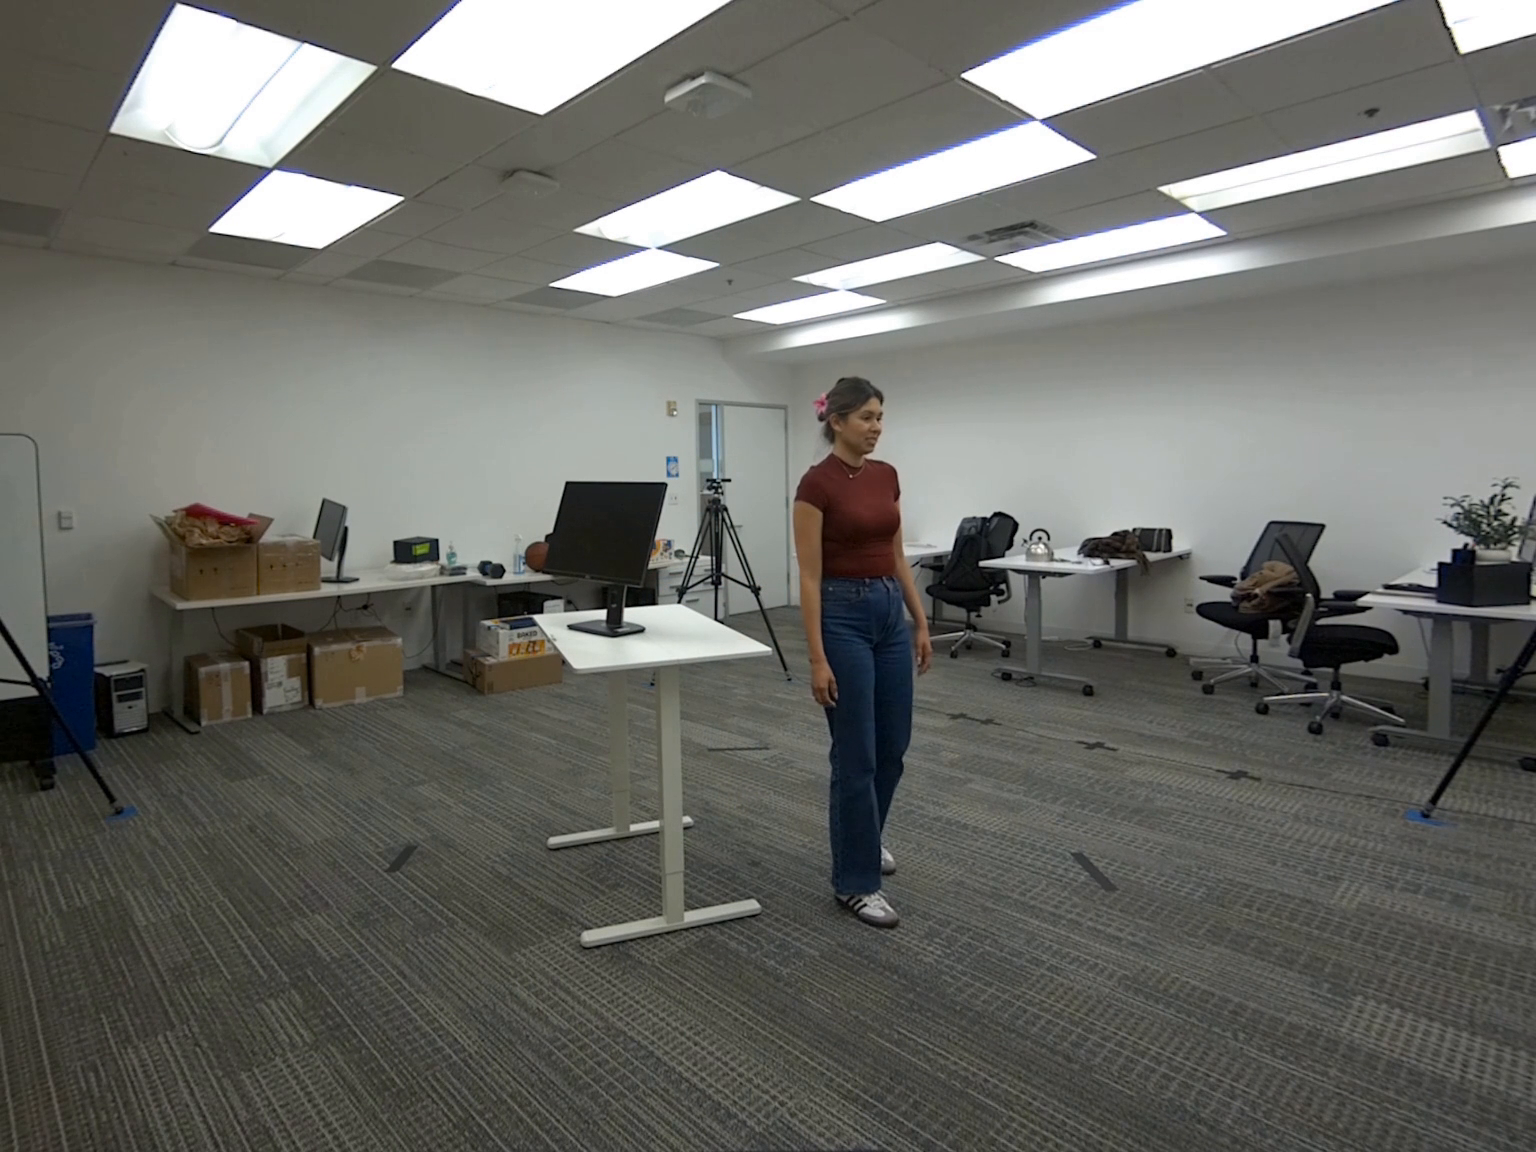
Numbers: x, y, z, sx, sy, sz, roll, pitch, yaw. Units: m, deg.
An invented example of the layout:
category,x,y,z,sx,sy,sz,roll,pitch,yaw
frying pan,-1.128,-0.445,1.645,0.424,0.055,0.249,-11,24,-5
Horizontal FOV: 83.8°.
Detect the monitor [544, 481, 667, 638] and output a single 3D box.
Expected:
category,x,y,z,sx,sy,sz,roll,pitch,yaw
monitor,-0.552,-0.067,2.964,0.555,0.522,0.182,4,3,39
